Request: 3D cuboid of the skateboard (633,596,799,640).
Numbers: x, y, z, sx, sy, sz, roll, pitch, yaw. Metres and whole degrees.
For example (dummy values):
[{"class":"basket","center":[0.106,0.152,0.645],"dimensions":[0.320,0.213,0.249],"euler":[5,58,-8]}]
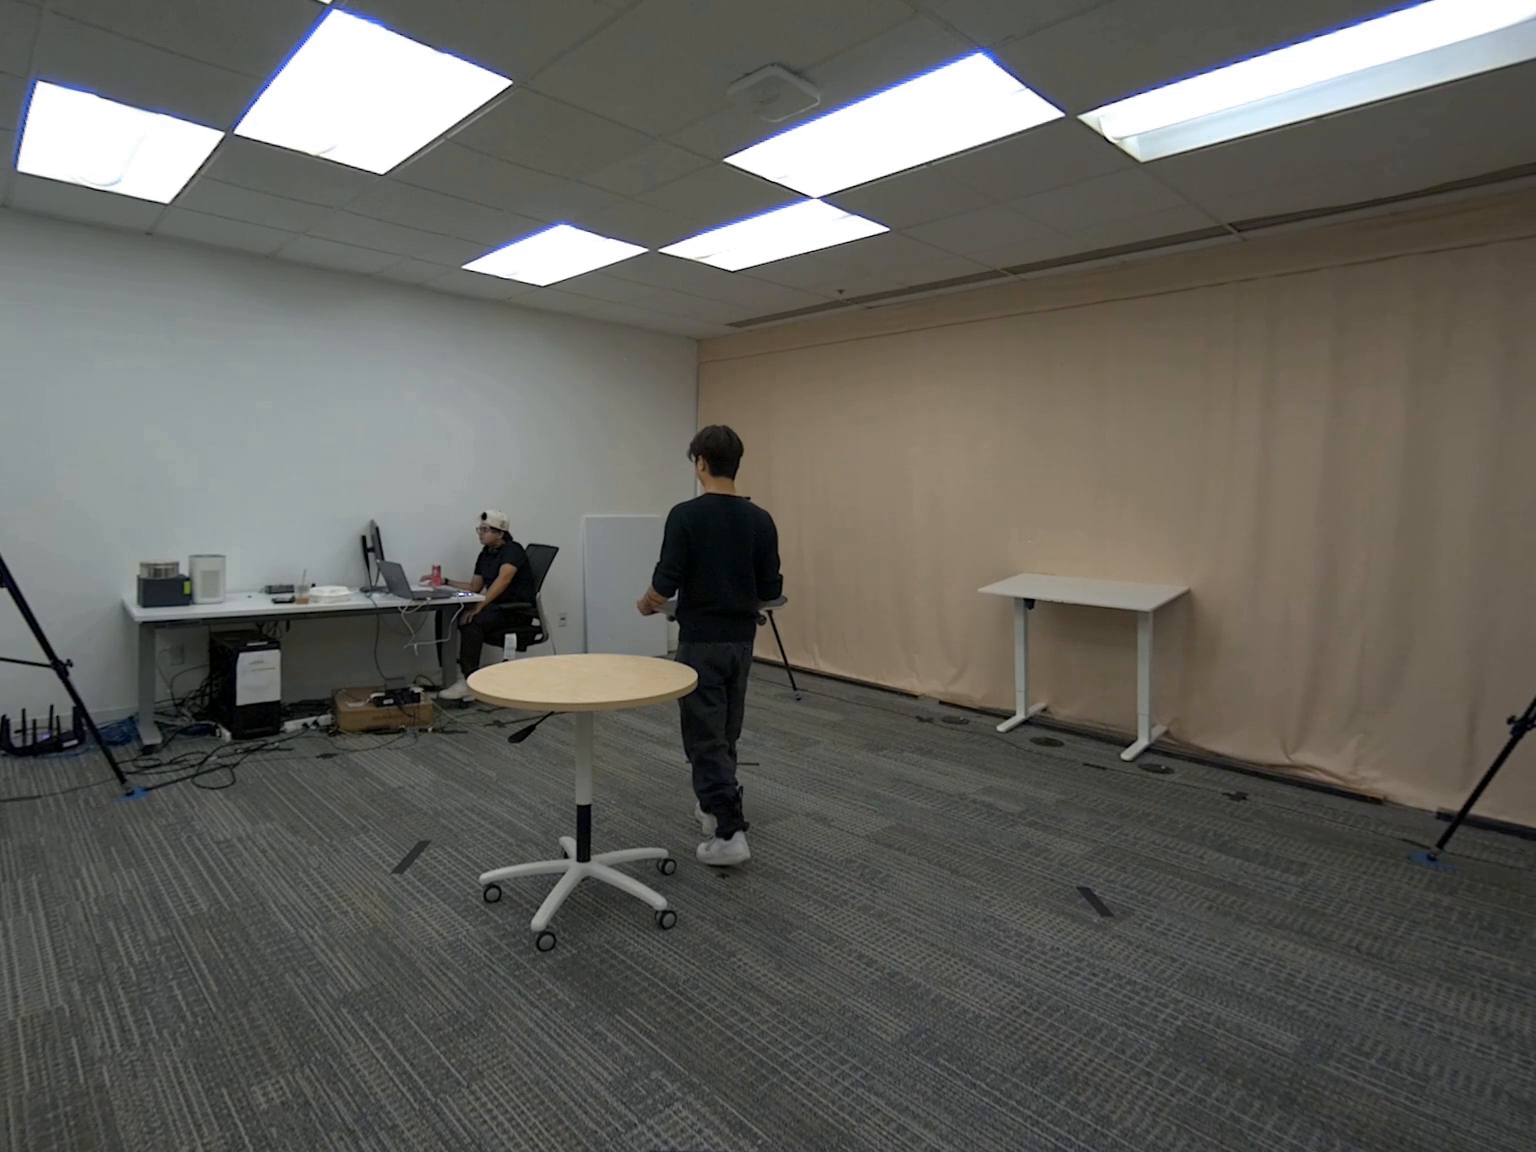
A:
[{"class":"skateboard","center":[-0.212,0.161,3.717],"dimensions":[0.767,0.109,0.199],"euler":[-2,17,-45]}]
